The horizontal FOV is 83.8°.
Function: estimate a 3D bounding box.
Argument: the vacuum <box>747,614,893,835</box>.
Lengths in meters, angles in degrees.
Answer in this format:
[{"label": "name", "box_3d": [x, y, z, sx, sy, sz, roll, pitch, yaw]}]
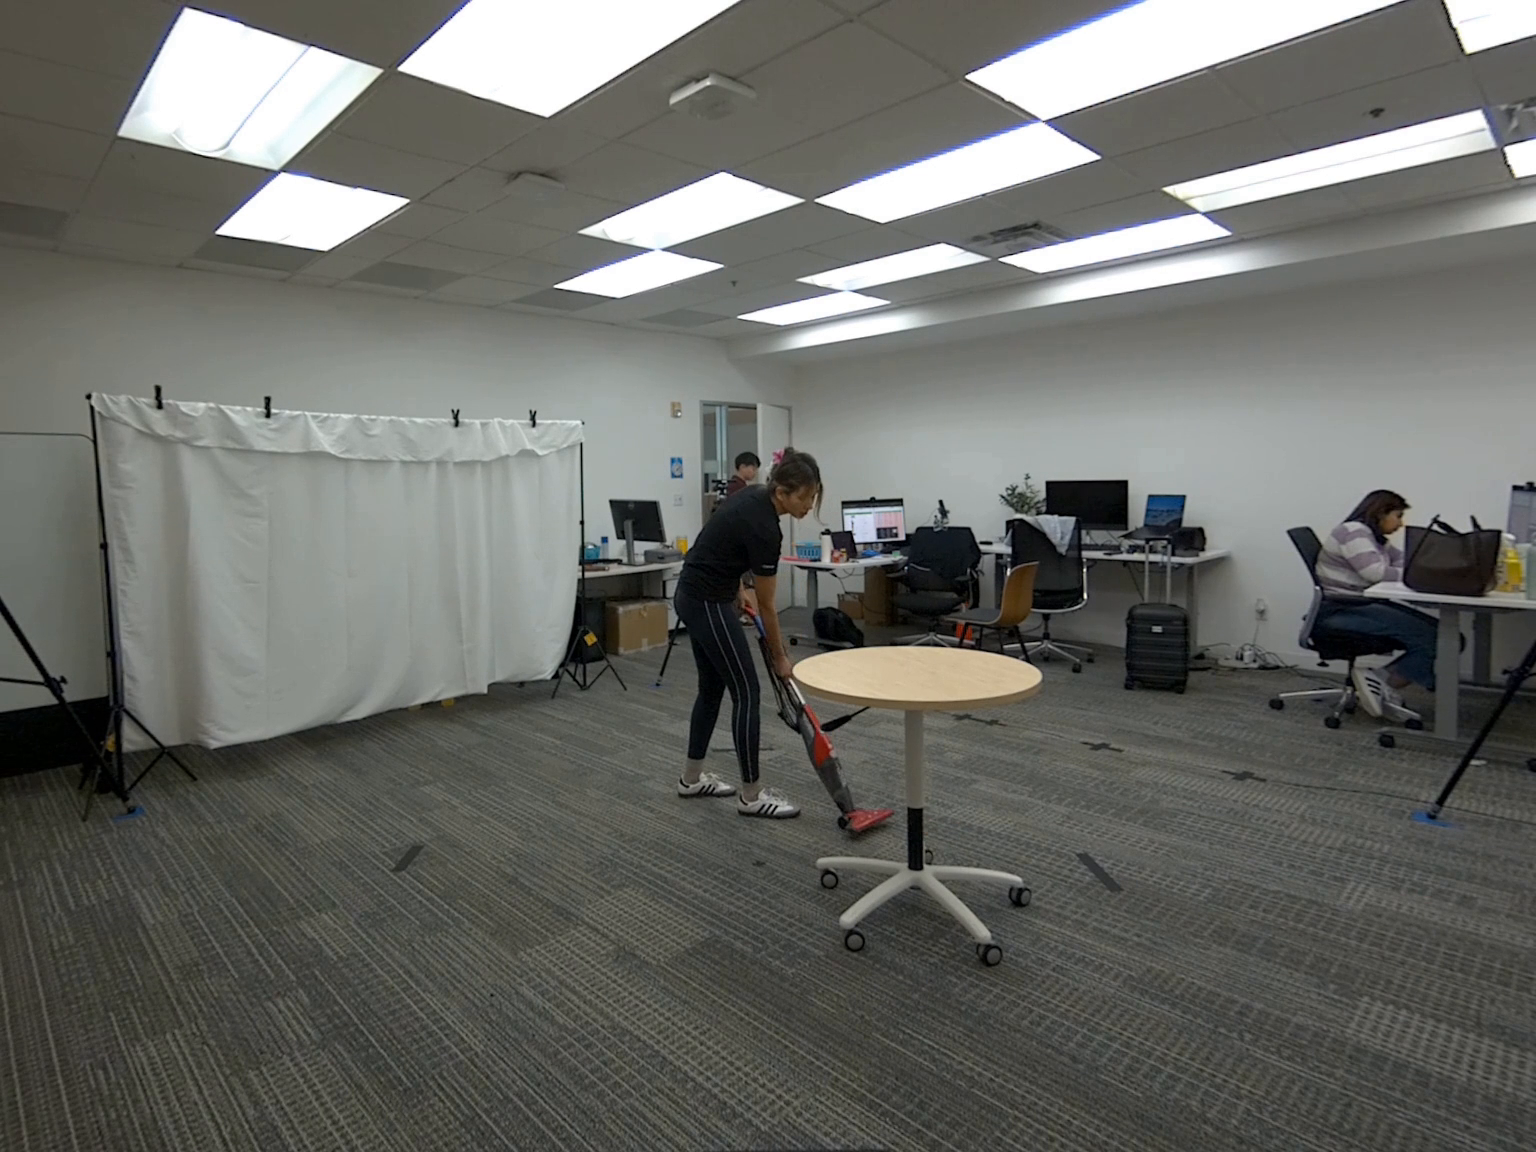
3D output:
[{"label": "vacuum", "box_3d": [0.151, 0.564, 3.614, 0.245, 1.080, 0.144, -2, -36, -45]}]
